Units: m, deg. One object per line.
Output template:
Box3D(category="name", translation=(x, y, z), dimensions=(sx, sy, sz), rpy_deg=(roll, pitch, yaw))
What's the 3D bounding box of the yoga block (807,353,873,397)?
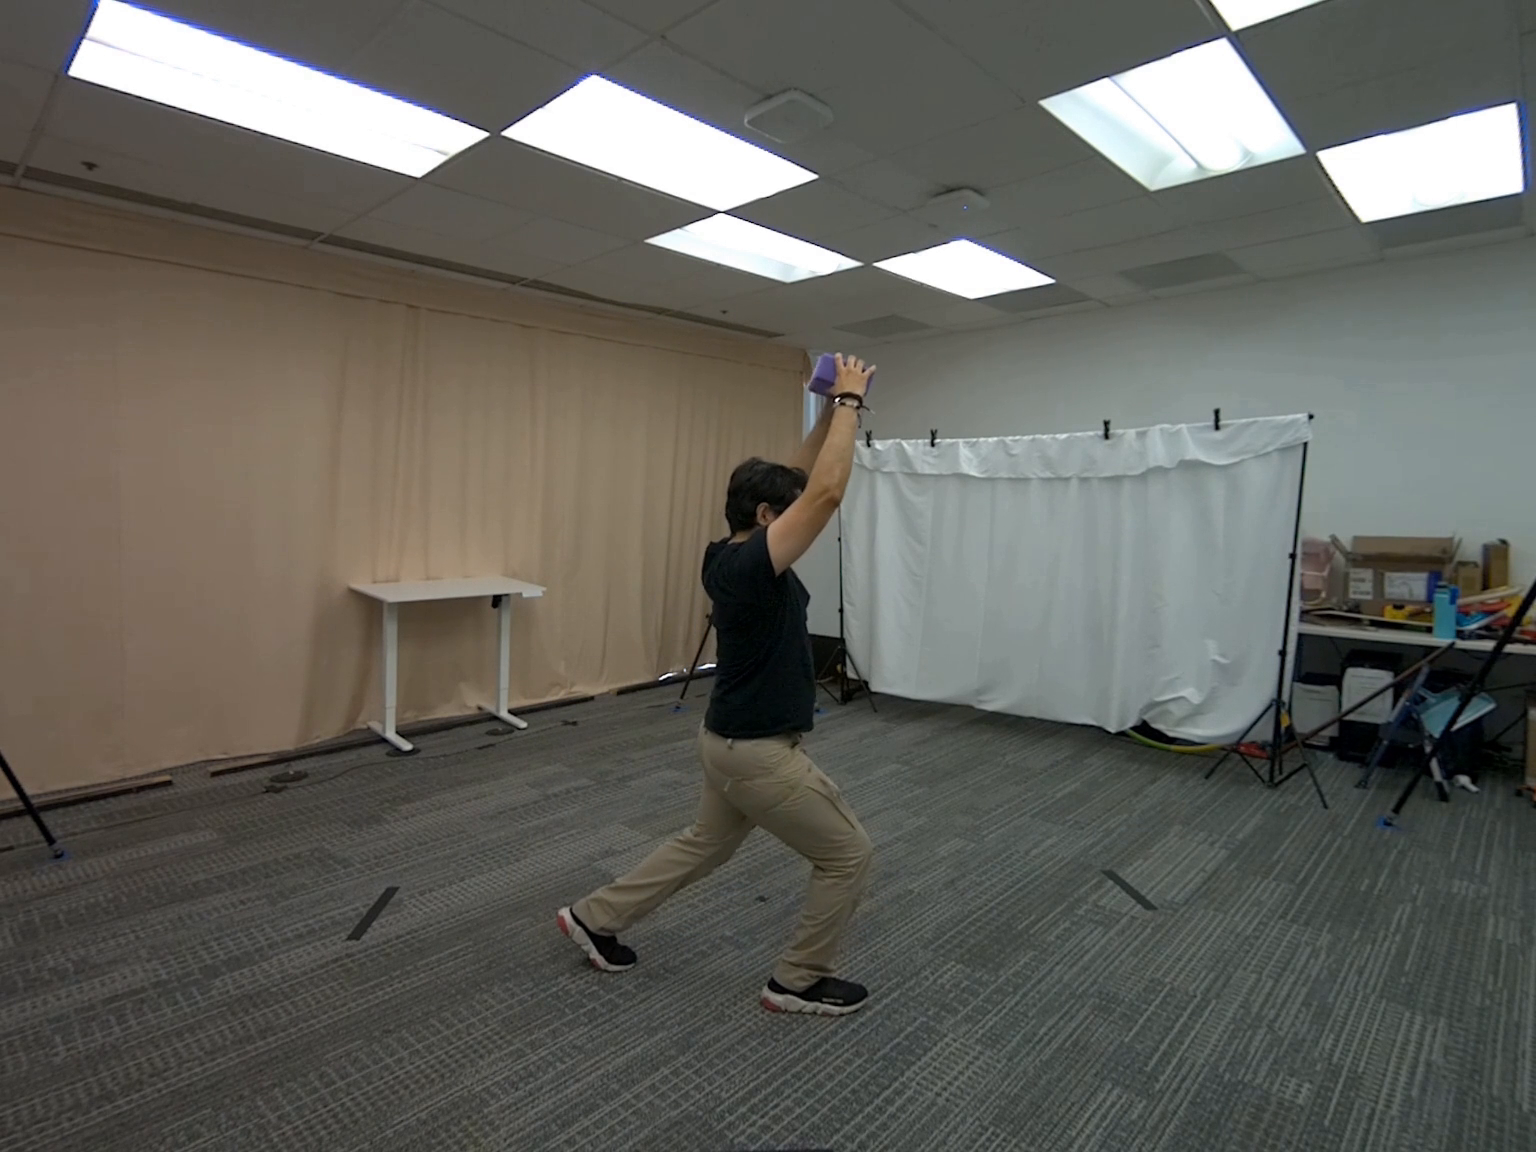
Box3D(category="yoga block", translation=(0.206, -0.540, 2.313), dimensions=(0.149, 0.076, 0.230), rpy_deg=(20, 4, -3))
